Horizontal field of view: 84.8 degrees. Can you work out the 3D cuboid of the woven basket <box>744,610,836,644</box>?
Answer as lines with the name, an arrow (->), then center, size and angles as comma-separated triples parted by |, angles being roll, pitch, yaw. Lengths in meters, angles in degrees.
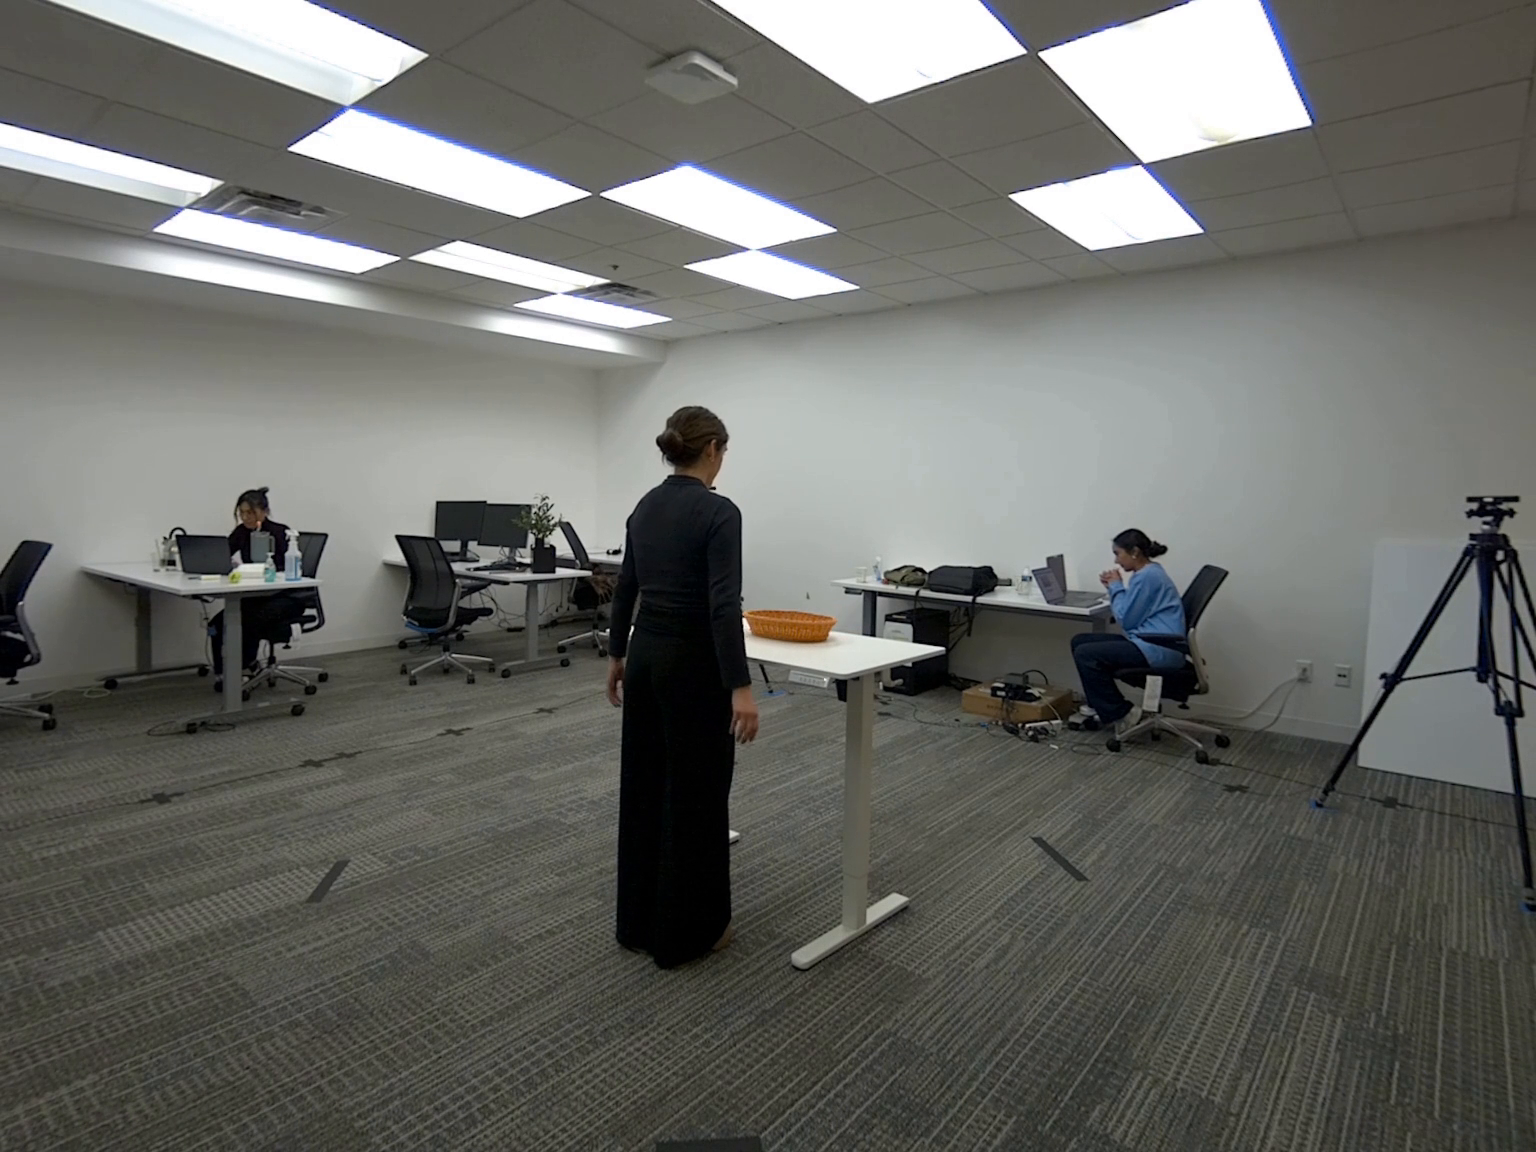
woven basket -> 0.070, 0.176, 2.937 | 0.362, 0.073, 0.244 | 6, 6, 43
